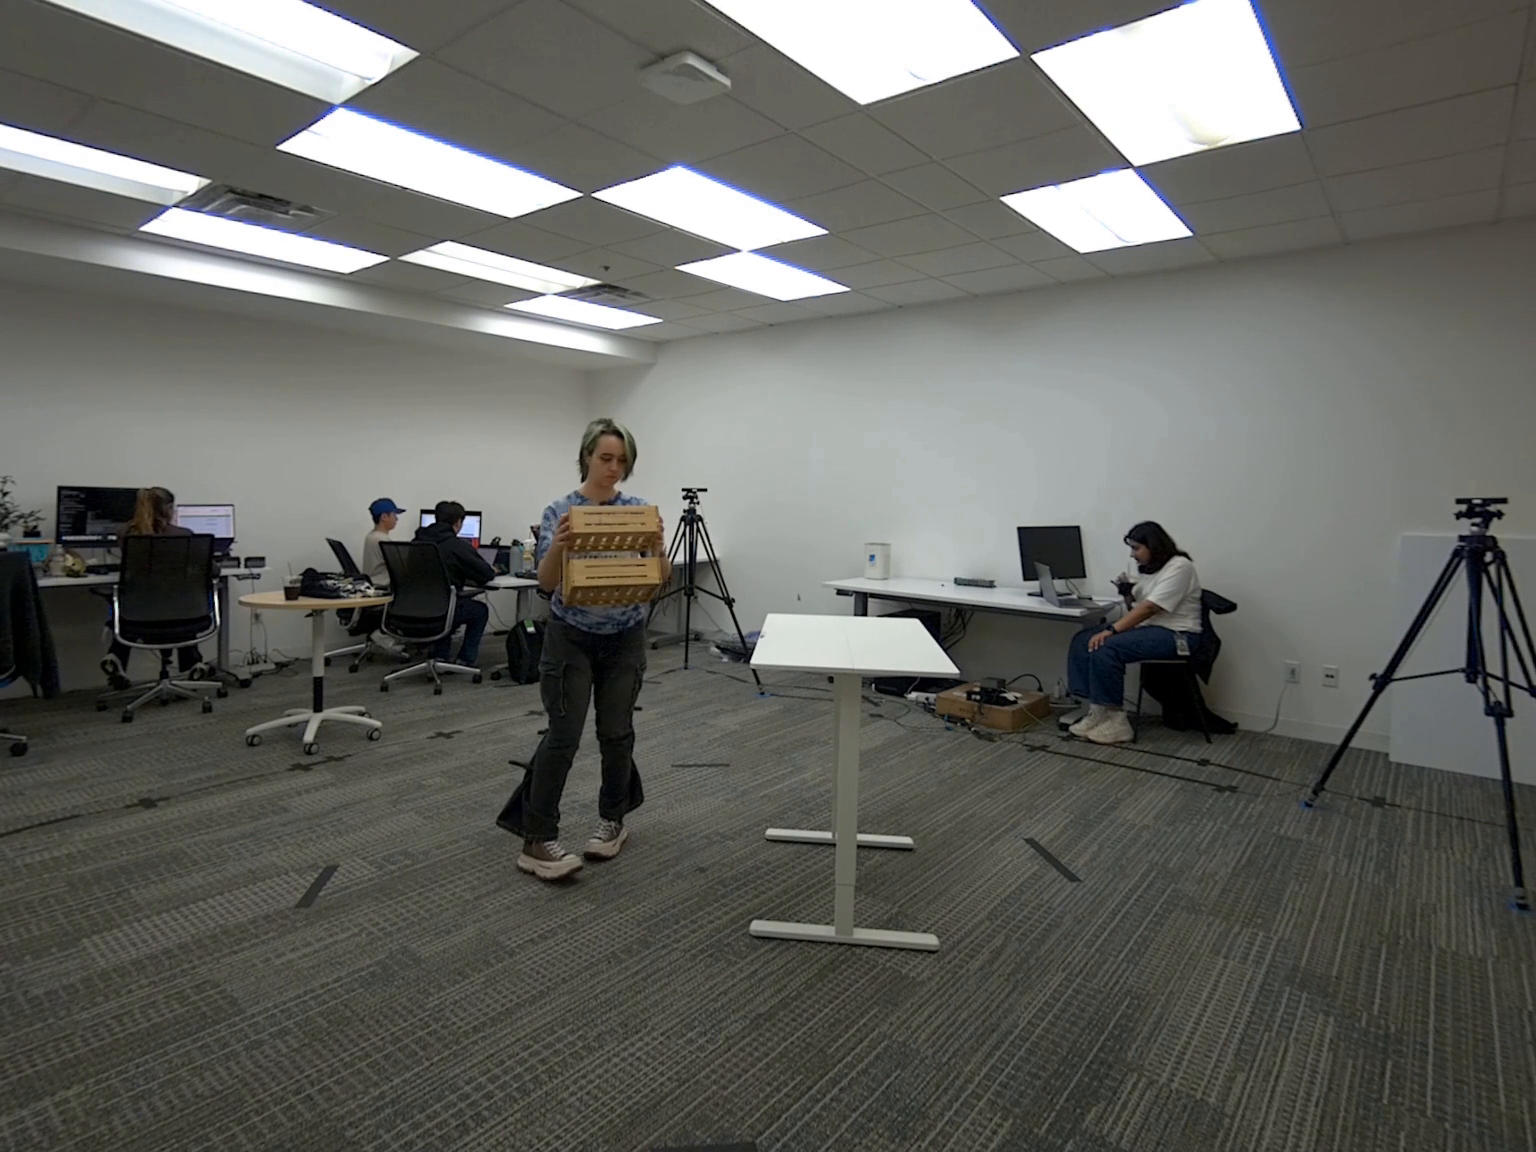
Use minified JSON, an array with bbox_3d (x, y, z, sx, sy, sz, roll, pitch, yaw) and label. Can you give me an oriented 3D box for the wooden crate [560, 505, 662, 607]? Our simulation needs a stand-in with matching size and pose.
[{"bbox_3d":[-0.566,-0.070,2.927,0.318,0.278,0.302,-1,-18,-20],"label":"wooden crate"}]
